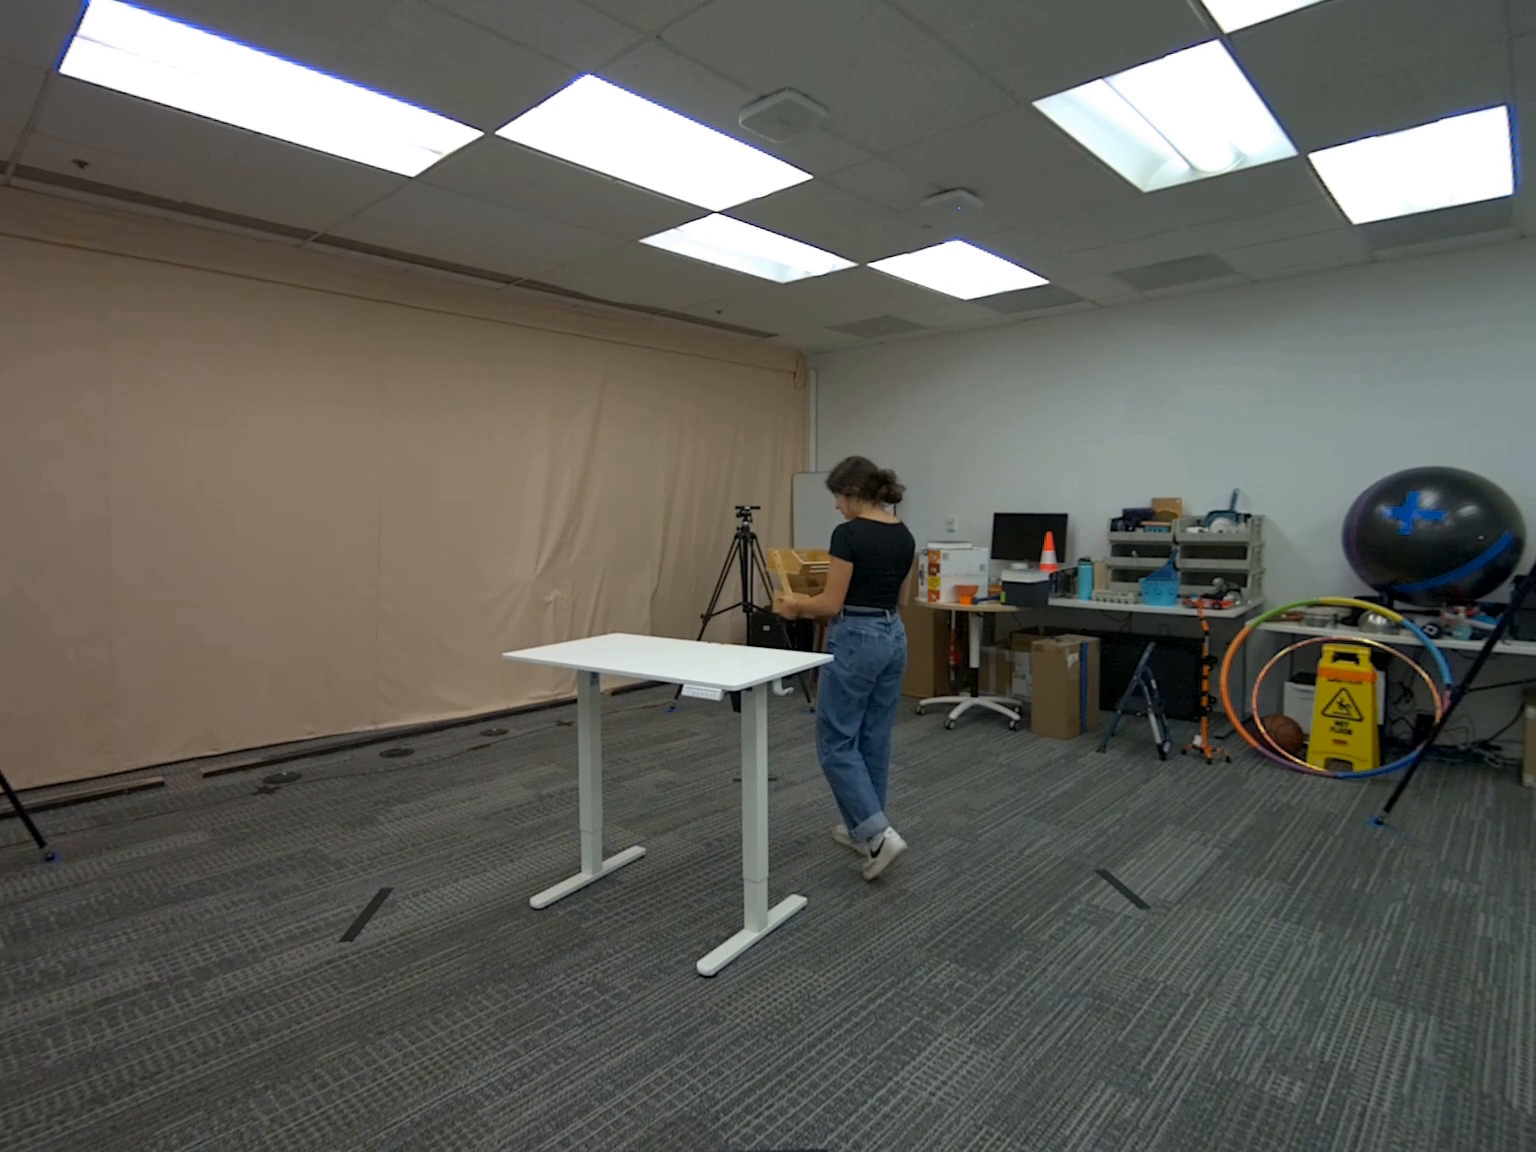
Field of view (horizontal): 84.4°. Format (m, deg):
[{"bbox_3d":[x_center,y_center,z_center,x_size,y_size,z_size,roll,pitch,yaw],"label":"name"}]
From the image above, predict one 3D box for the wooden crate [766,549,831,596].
[{"bbox_3d":[0.202,0.024,3.536,0.314,0.273,0.312,-1,5,-44],"label":"wooden crate"}]
